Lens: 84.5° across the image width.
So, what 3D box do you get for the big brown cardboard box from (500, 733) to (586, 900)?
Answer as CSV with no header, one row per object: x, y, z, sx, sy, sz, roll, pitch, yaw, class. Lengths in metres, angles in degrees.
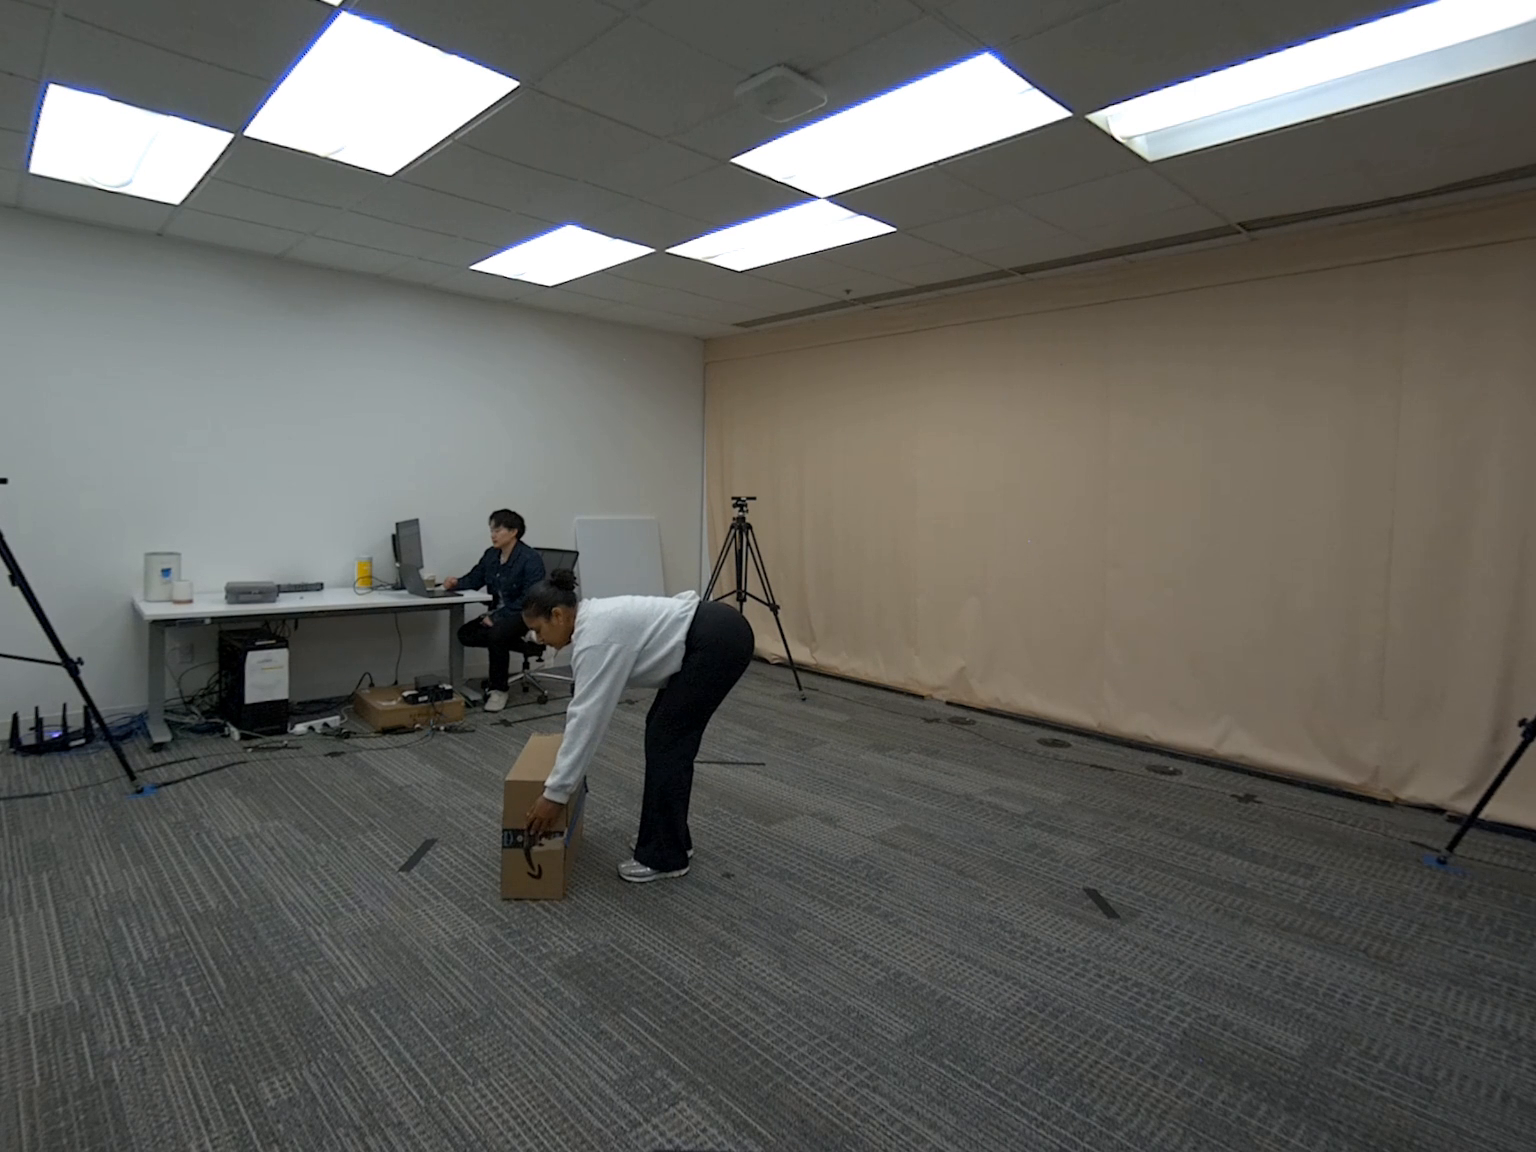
-0.838,0.876,3.156,0.233,0.416,0.592,2,5,-2,big brown cardboard box
